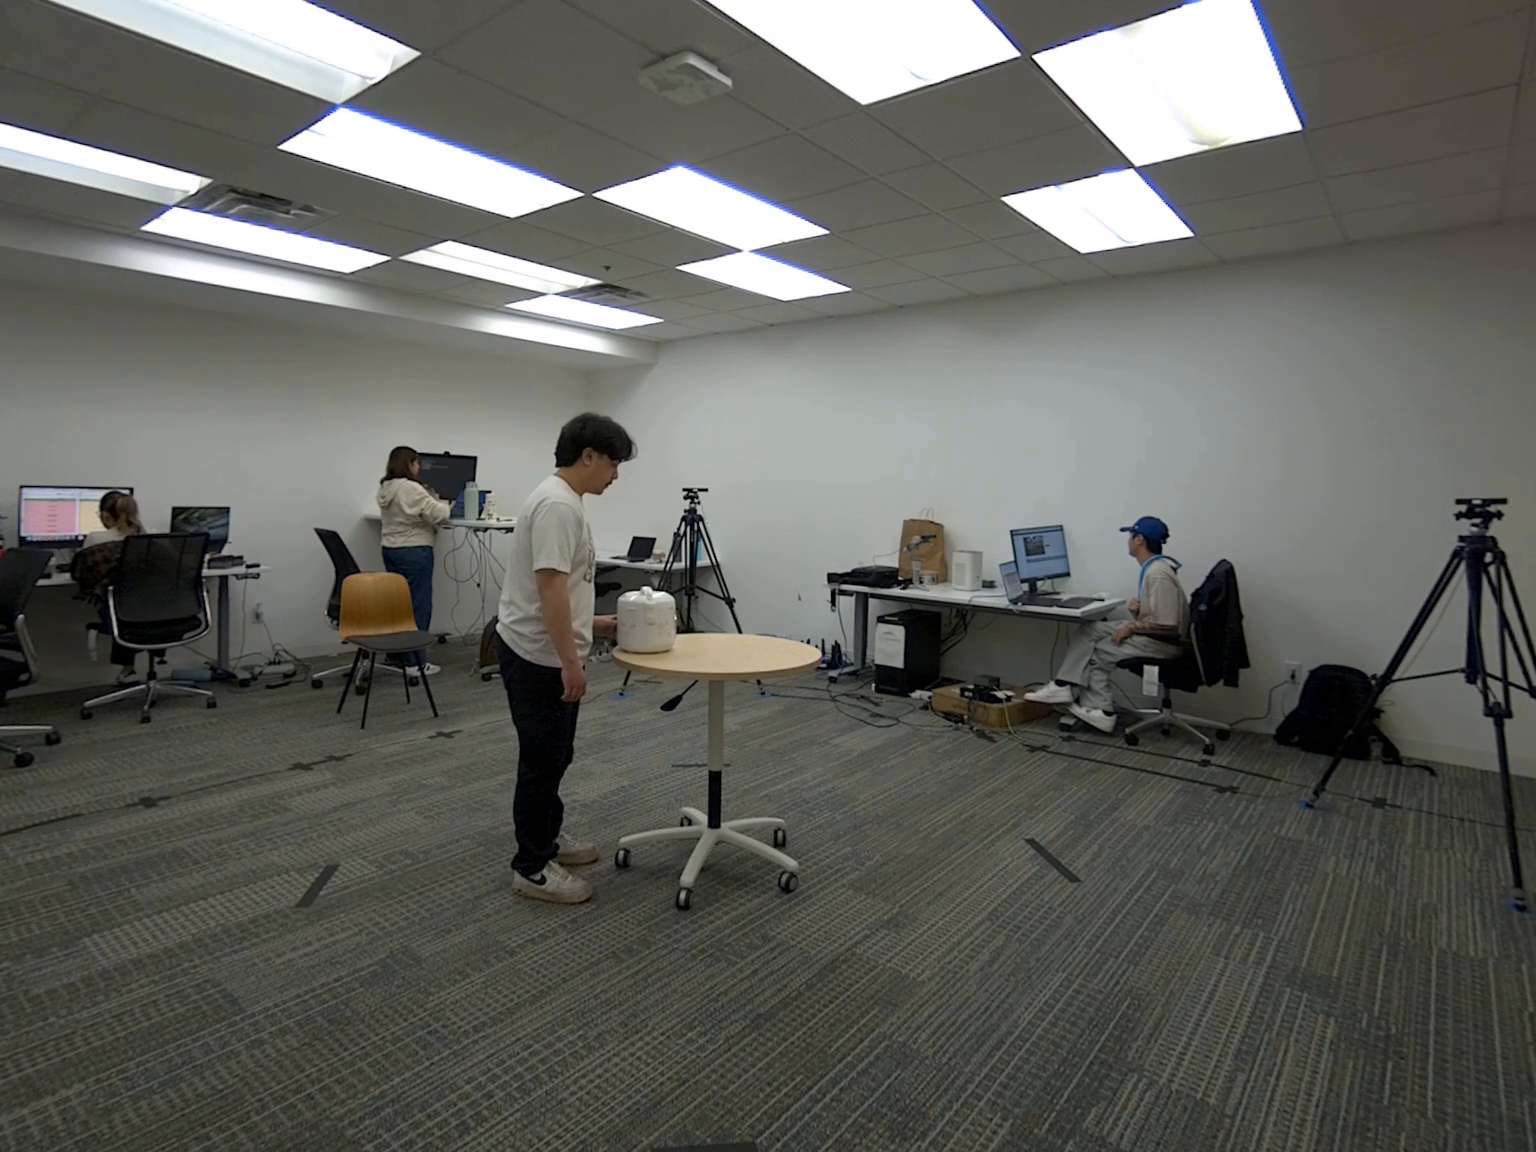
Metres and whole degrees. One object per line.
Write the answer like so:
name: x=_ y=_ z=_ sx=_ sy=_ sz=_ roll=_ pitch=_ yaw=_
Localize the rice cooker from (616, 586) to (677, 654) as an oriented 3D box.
rice cooker: x=-0.456 y=0.155 z=3.120 sx=0.214 sy=0.232 sz=0.225 roll=-1 pitch=5 yaw=-14
